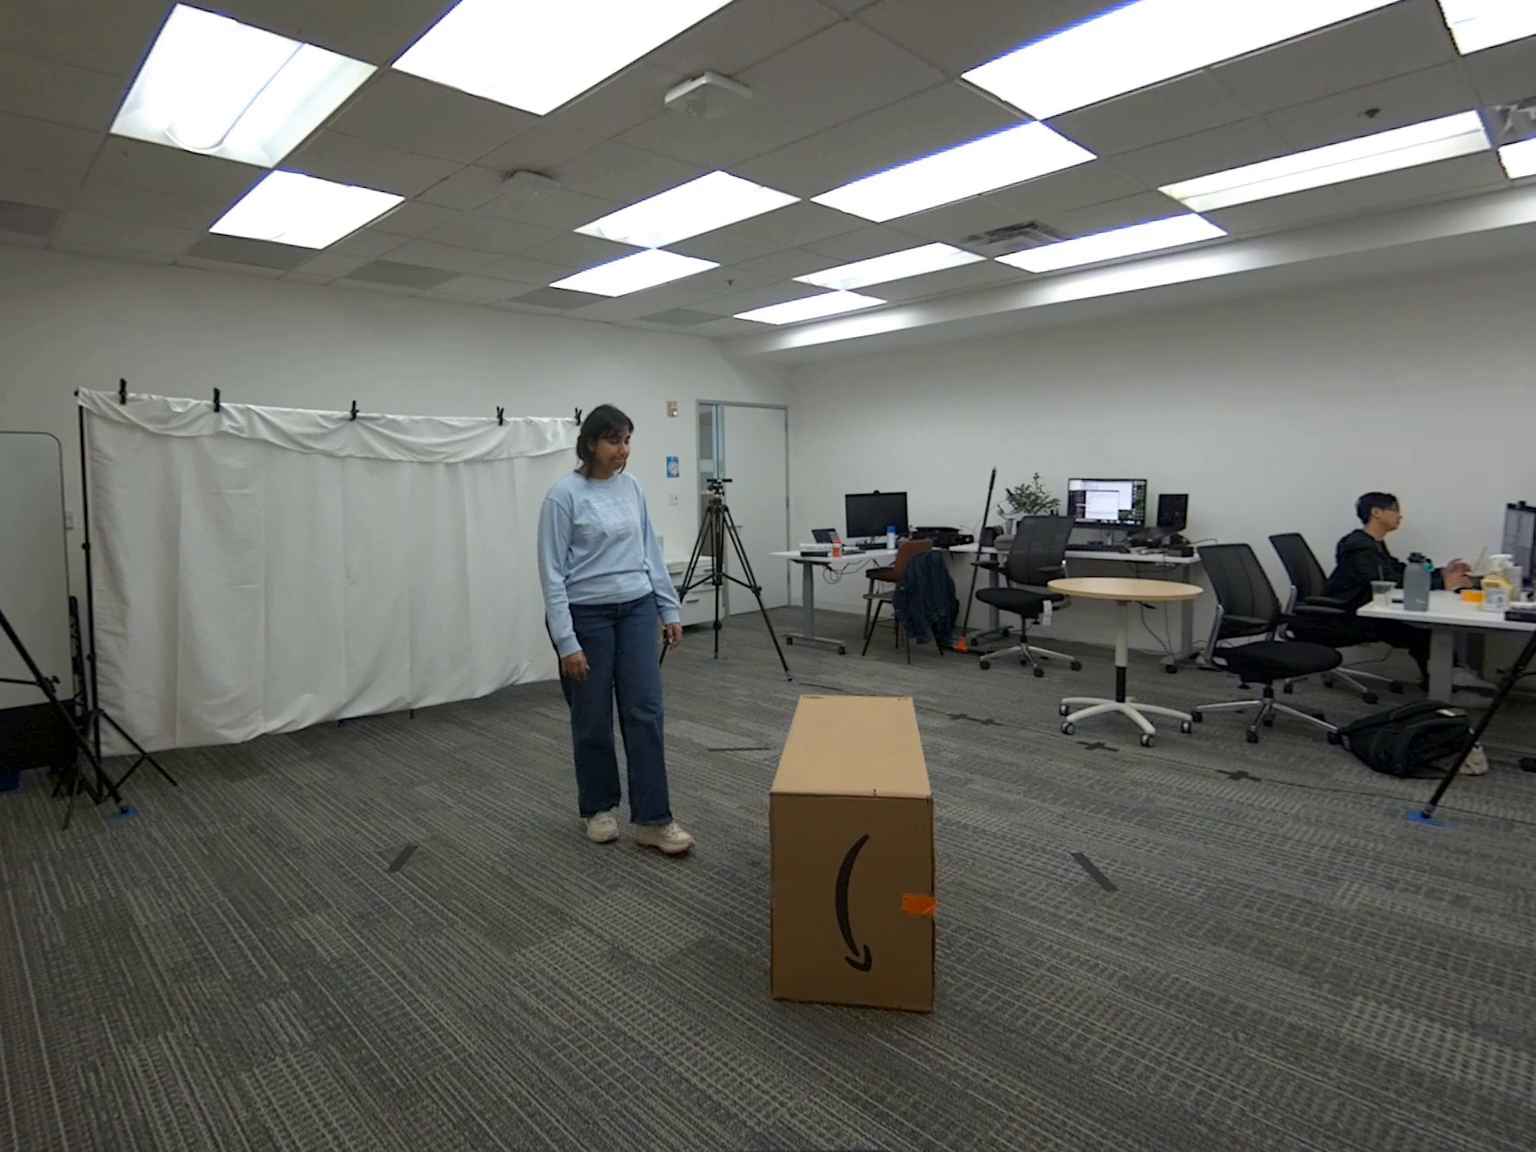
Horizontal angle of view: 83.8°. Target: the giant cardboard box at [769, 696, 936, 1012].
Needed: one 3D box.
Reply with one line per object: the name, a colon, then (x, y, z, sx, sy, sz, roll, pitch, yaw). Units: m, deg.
giant cardboard box: (0.281, 0.792, 2.730, 0.430, 0.575, 1.021, 0, 6, 7)
